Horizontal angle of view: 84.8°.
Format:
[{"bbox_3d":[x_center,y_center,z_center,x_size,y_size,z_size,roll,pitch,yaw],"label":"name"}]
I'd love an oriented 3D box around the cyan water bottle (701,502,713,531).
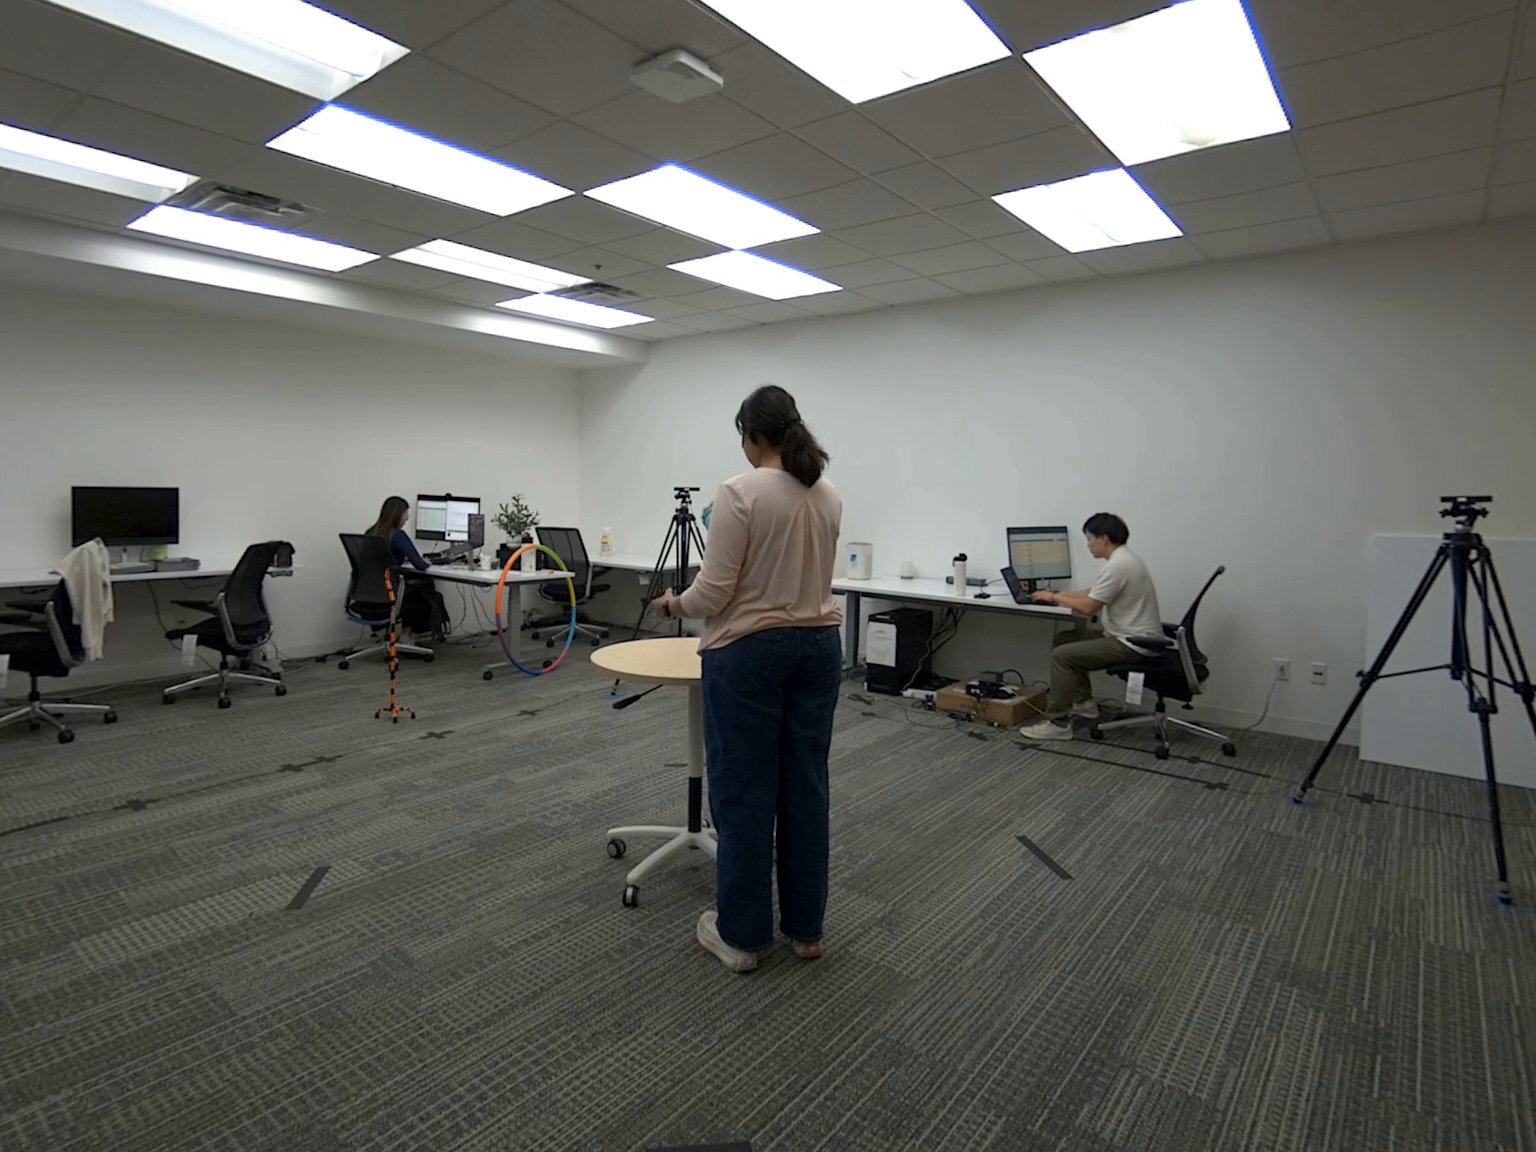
[{"bbox_3d":[-0.151,-0.132,2.918,0.091,0.294,0.090,-13,-36,-12],"label":"cyan water bottle"}]
